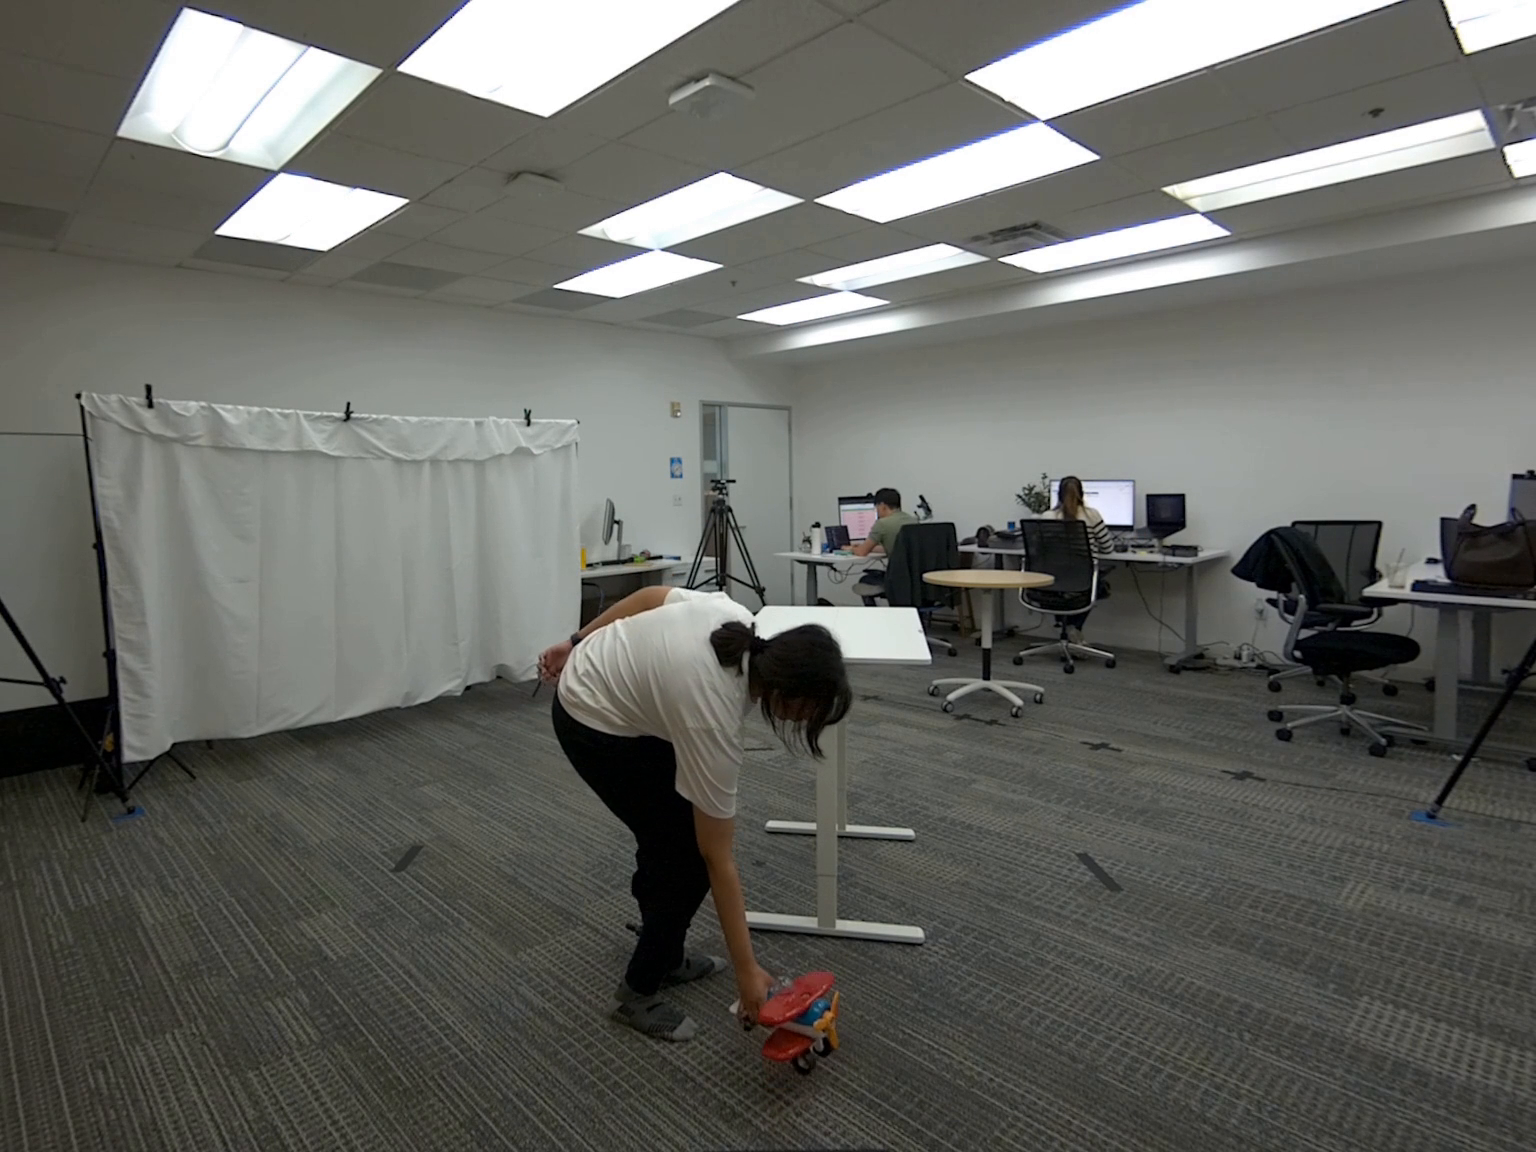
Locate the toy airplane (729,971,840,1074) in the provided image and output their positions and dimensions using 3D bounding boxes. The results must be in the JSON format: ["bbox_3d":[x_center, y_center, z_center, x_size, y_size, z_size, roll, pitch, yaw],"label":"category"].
[{"bbox_3d":[0.047,1.037,1.990,0.262,0.156,0.250,5,7,9],"label":"toy airplane"}]
